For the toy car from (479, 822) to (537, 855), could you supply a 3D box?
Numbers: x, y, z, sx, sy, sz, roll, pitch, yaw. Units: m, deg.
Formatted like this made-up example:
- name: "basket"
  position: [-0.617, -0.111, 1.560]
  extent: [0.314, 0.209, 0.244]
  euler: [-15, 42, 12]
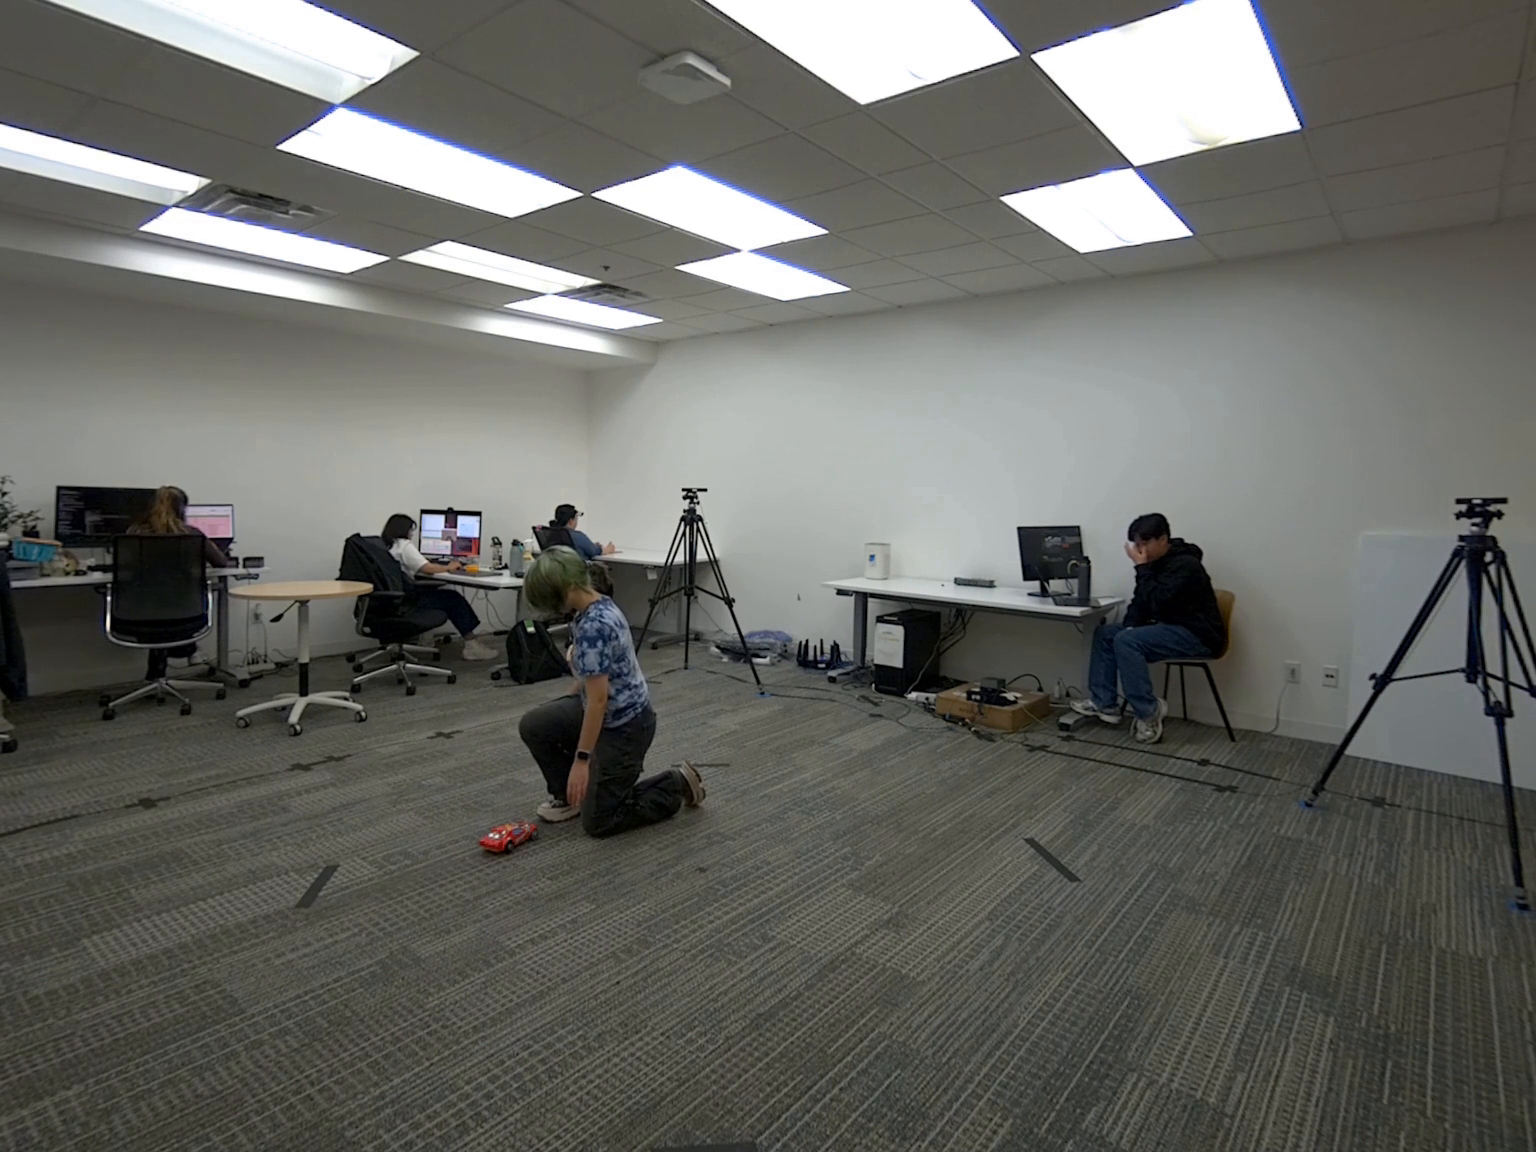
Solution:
- name: "toy car"
  position: [-1.028, 1.011, 3.283]
  extent: [0.134, 0.084, 0.246]
  euler: [3, -7, 27]
